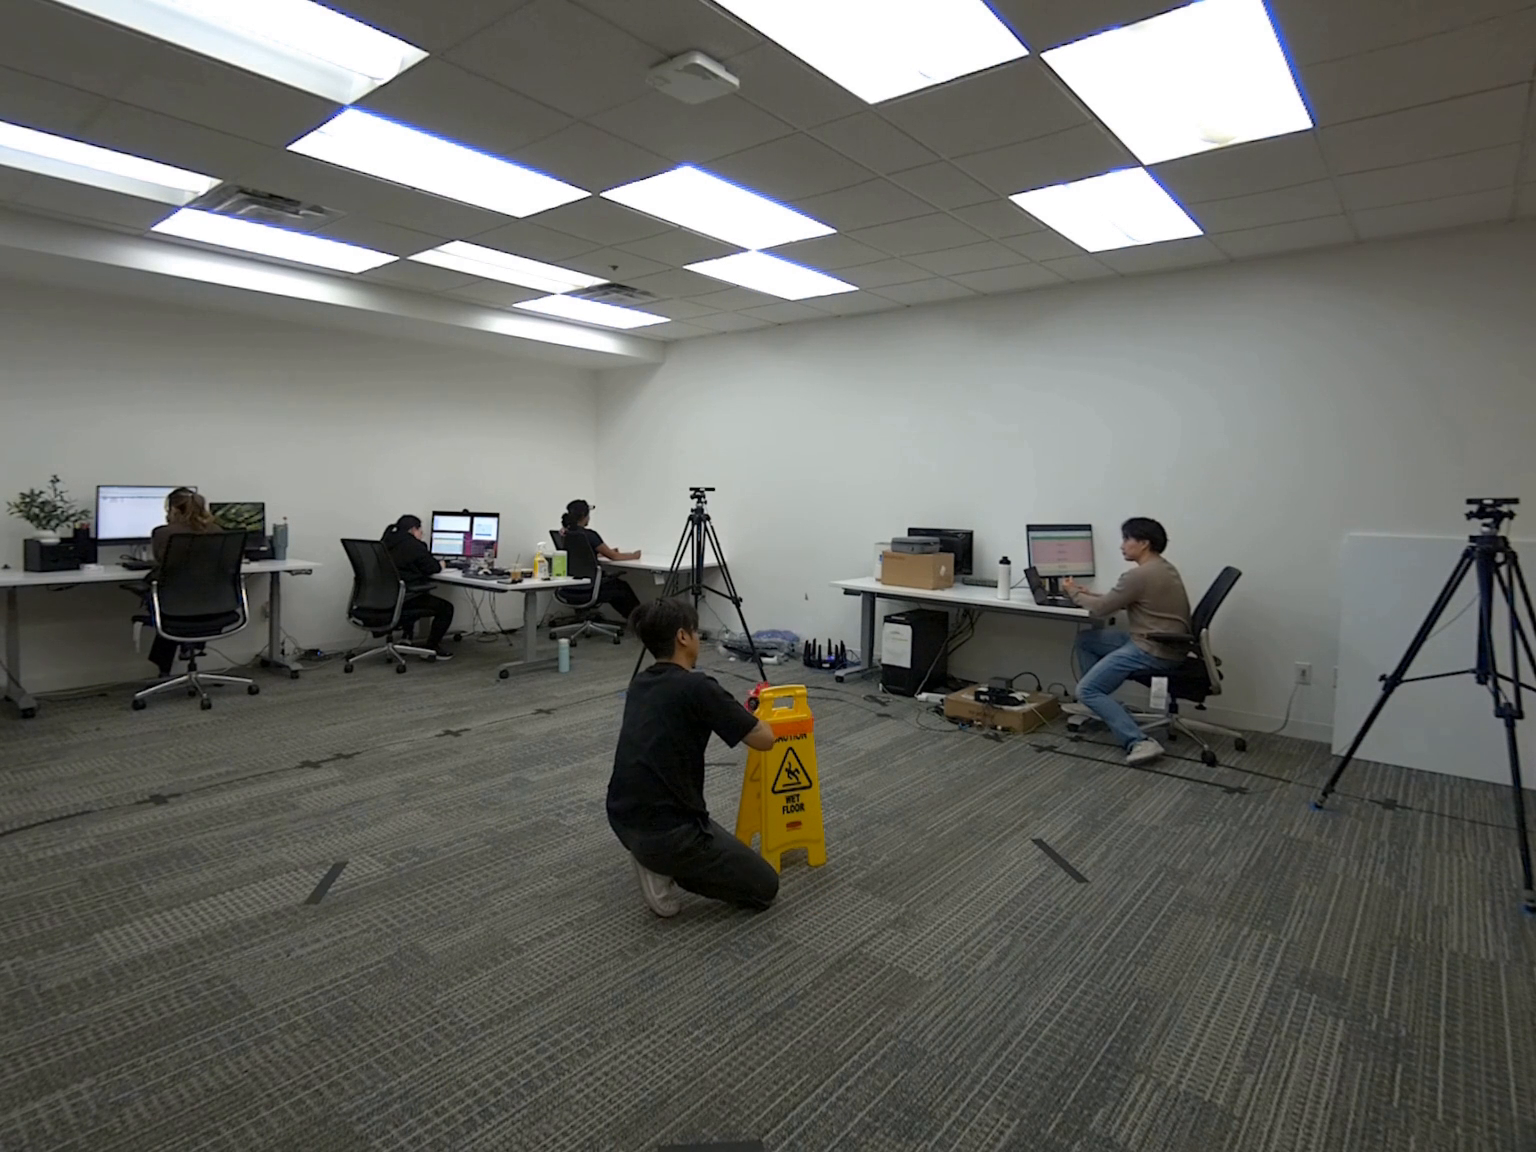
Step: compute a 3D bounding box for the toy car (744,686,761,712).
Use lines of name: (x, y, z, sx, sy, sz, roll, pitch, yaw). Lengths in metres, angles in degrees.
toy car: (-0.065, 0.537, 3.374, 0.086, 0.254, 0.126, 18, 4, 33)
